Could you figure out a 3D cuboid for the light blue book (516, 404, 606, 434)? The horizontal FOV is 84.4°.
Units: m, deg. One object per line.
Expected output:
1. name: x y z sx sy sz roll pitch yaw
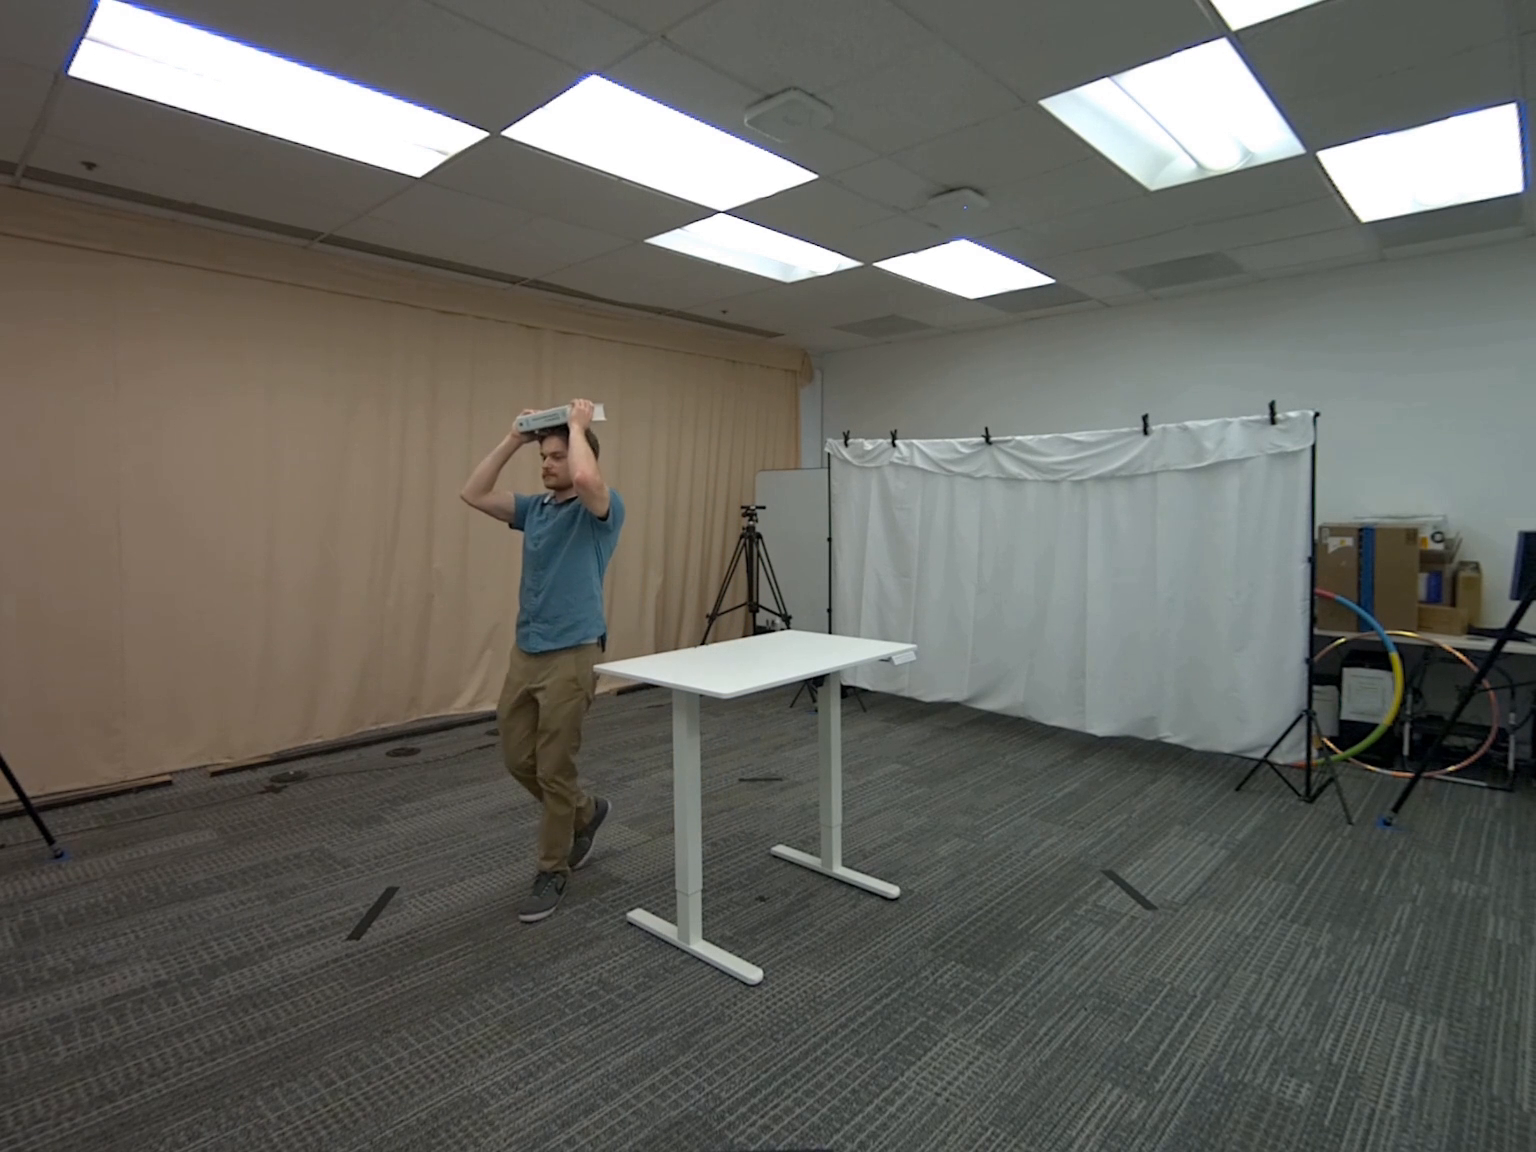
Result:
1. light blue book: -0.735 -0.560 2.995 0.268 0.059 0.187 -5 8 30
